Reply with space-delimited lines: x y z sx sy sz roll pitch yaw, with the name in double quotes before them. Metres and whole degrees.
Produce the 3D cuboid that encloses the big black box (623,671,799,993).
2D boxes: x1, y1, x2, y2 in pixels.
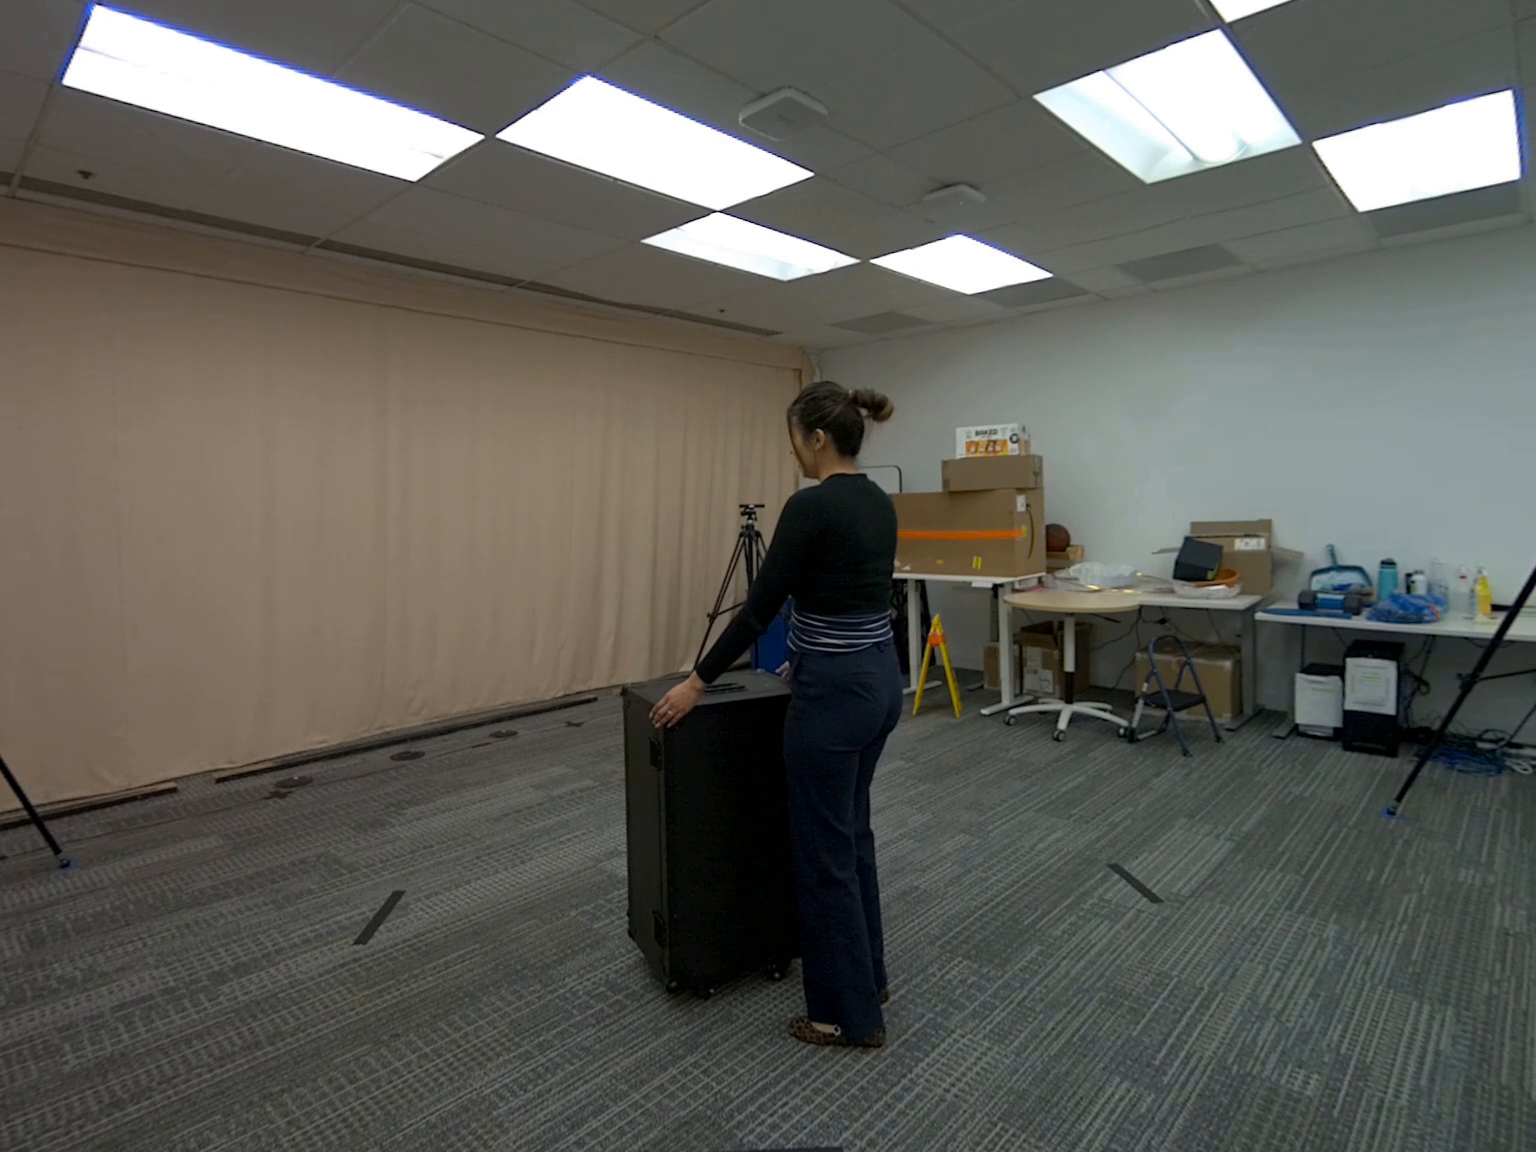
"big black box" -0.154 0.756 2.533 0.509 0.860 0.406 -3 3 -26
